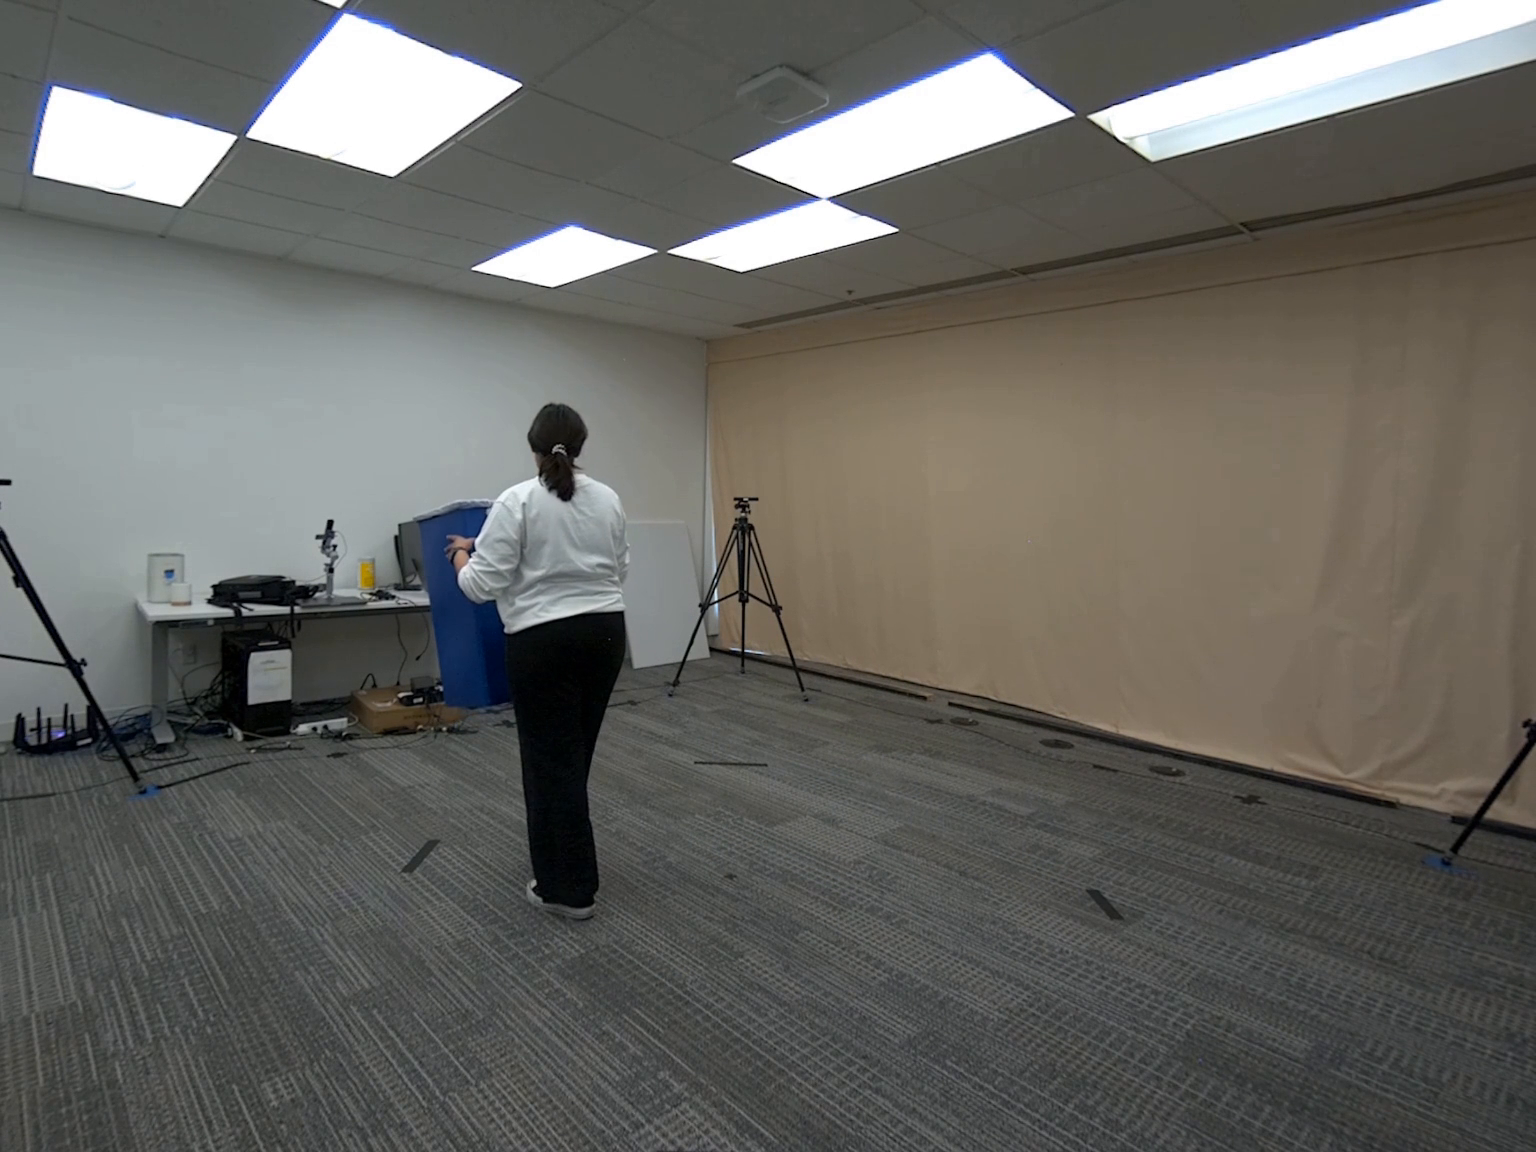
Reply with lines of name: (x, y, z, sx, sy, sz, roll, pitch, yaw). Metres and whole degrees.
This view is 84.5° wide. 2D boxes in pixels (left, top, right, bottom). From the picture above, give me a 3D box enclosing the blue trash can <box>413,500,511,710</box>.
blue trash can: (-1.040, 0.104, 3.122, 0.381, 0.715, 0.370, -9, -3, 41)
